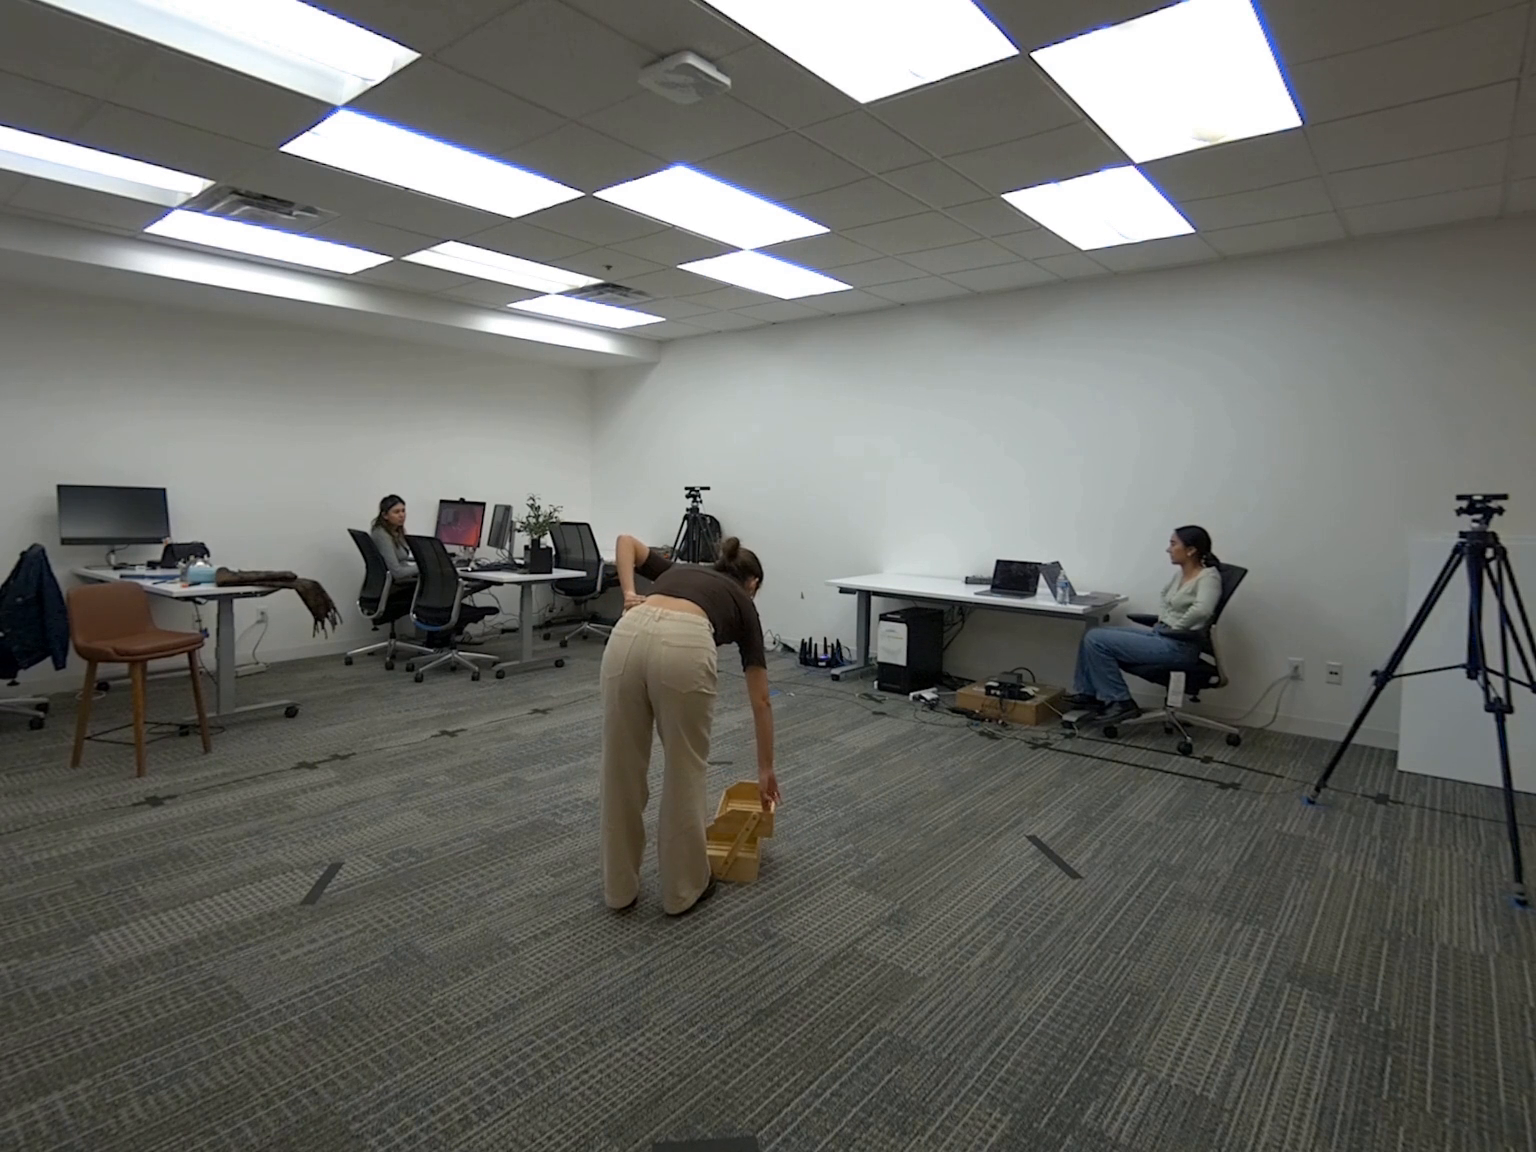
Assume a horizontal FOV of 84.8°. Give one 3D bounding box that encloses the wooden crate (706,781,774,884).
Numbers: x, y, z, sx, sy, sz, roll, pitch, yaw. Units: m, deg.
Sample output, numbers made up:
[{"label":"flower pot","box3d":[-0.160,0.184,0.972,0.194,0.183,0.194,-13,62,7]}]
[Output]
[{"label":"wooden crate","box3d":[-0.139,0.929,3.140,0.304,0.272,0.324,2,5,5]}]
